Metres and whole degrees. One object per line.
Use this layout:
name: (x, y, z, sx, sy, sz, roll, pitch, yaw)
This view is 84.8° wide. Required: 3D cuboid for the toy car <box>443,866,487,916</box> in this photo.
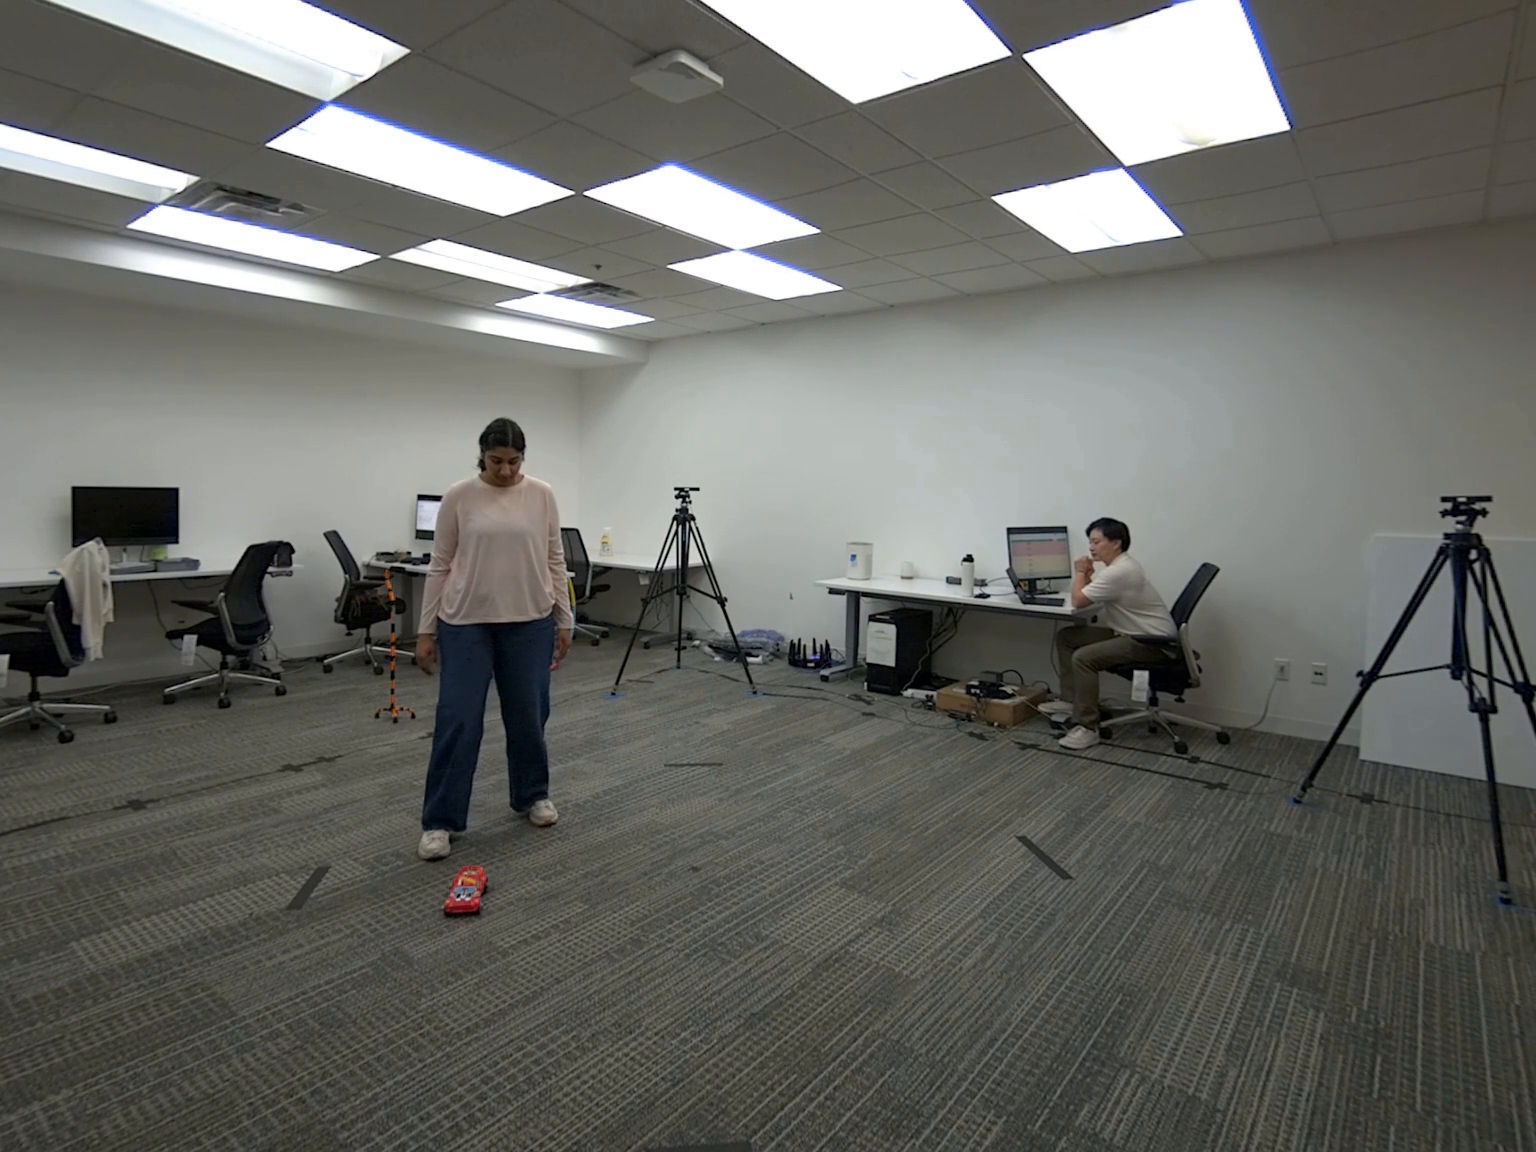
toy car: (-1.018, 1.048, 2.842, 0.129, 0.082, 0.260, 2, 16, -9)
